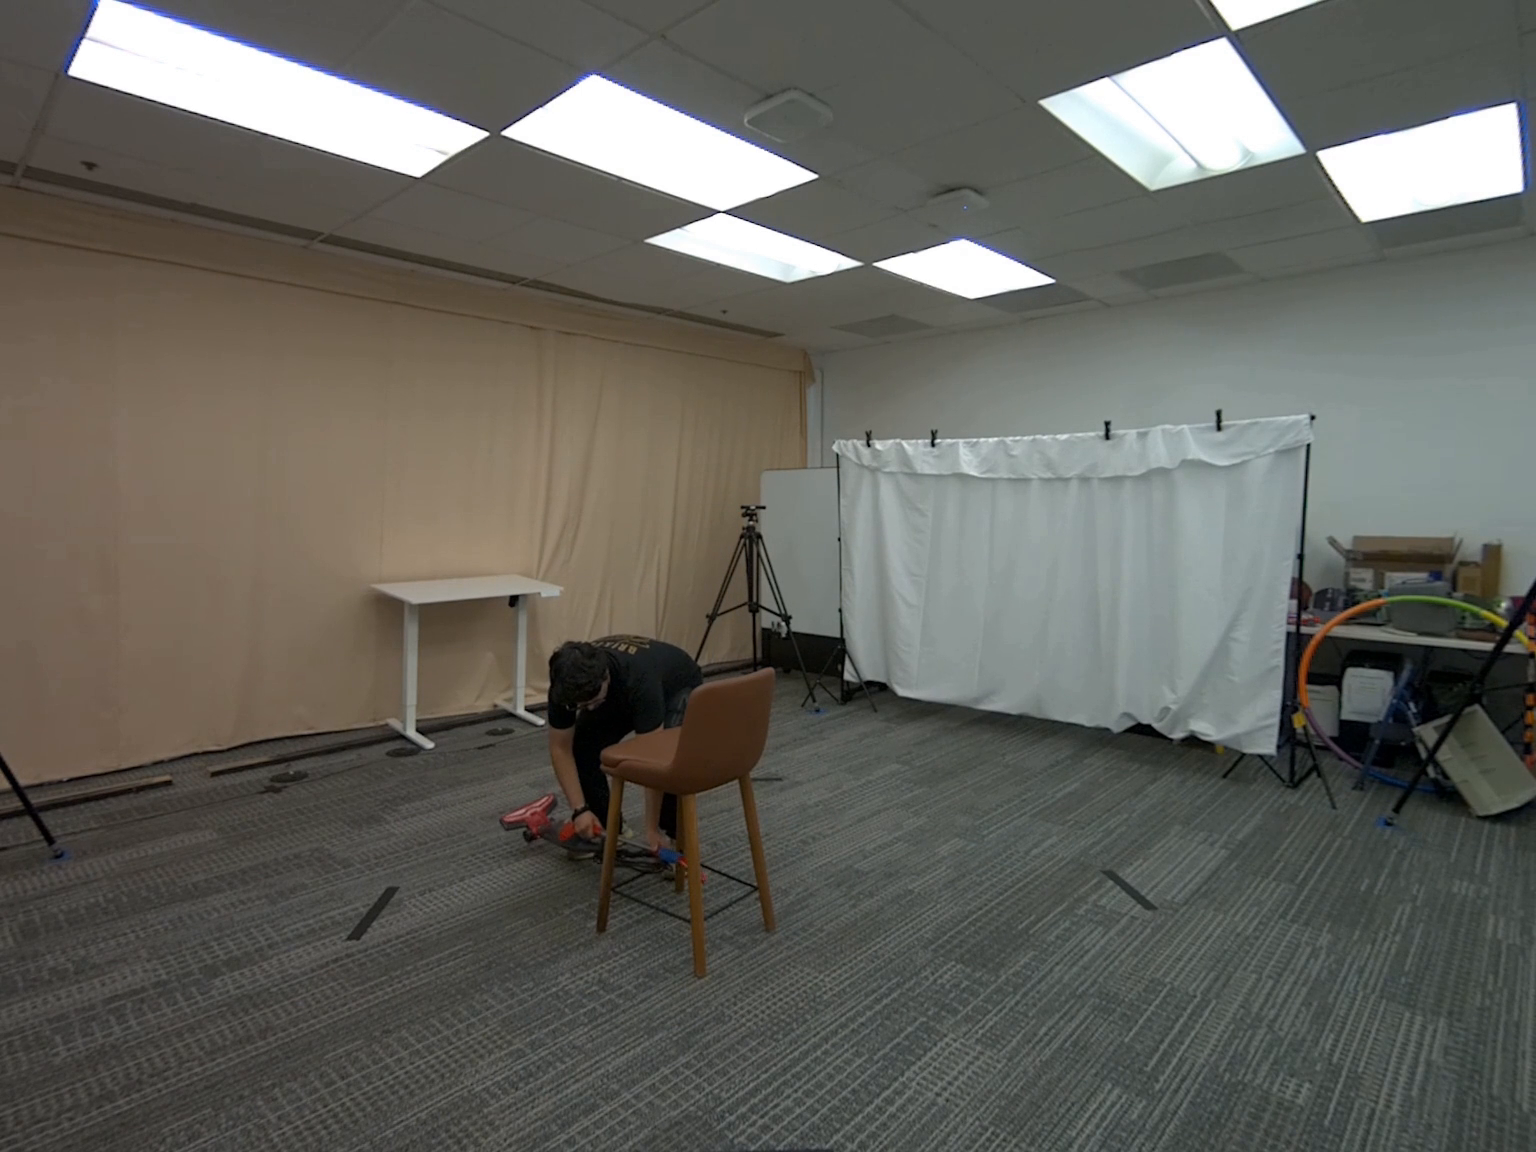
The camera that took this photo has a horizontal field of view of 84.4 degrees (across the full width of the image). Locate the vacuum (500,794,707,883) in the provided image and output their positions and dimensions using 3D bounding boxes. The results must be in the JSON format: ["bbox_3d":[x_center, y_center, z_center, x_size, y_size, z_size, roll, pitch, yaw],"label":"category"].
[{"bbox_3d":[-0.601,0.983,3.049,0.245,0.143,1.083,-10,7,-43],"label":"vacuum"}]
